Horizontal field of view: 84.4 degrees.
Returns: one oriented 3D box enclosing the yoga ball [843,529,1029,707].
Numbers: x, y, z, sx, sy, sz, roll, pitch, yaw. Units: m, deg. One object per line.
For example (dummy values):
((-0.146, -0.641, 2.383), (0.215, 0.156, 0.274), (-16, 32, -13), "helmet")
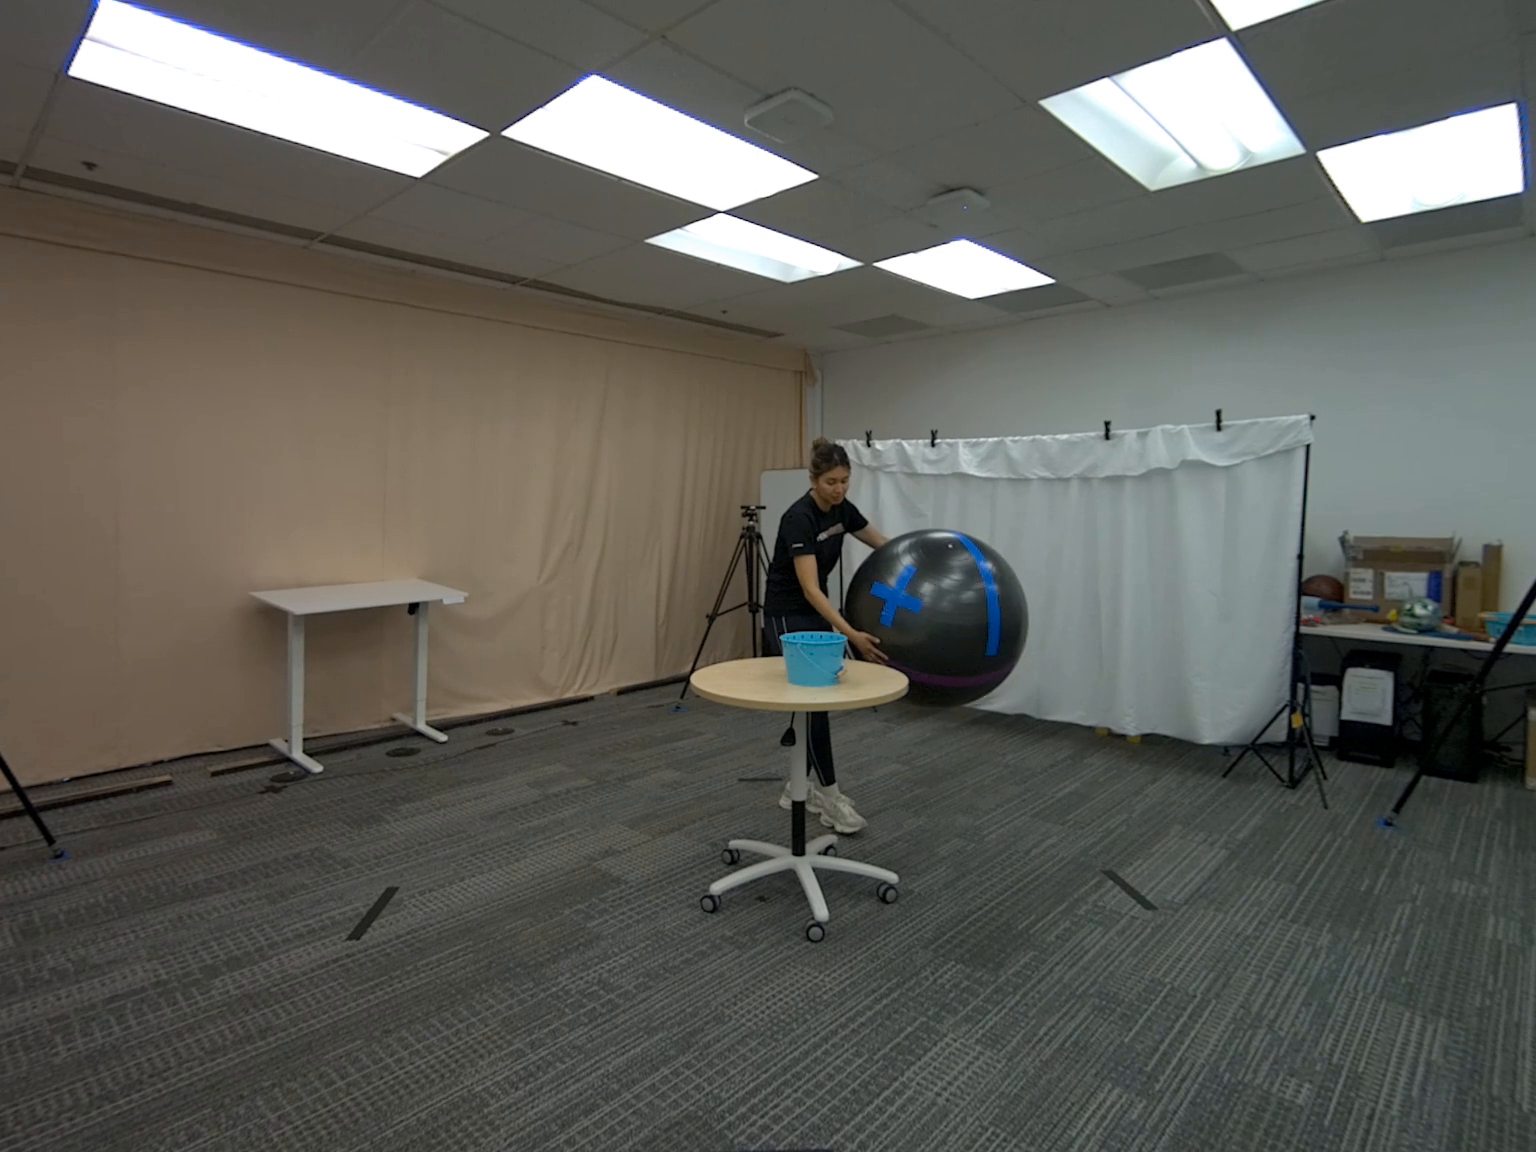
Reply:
((0.722, 0.188, 3.577), (0.757, 0.756, 0.761), (0, 4, -2), "yoga ball")
